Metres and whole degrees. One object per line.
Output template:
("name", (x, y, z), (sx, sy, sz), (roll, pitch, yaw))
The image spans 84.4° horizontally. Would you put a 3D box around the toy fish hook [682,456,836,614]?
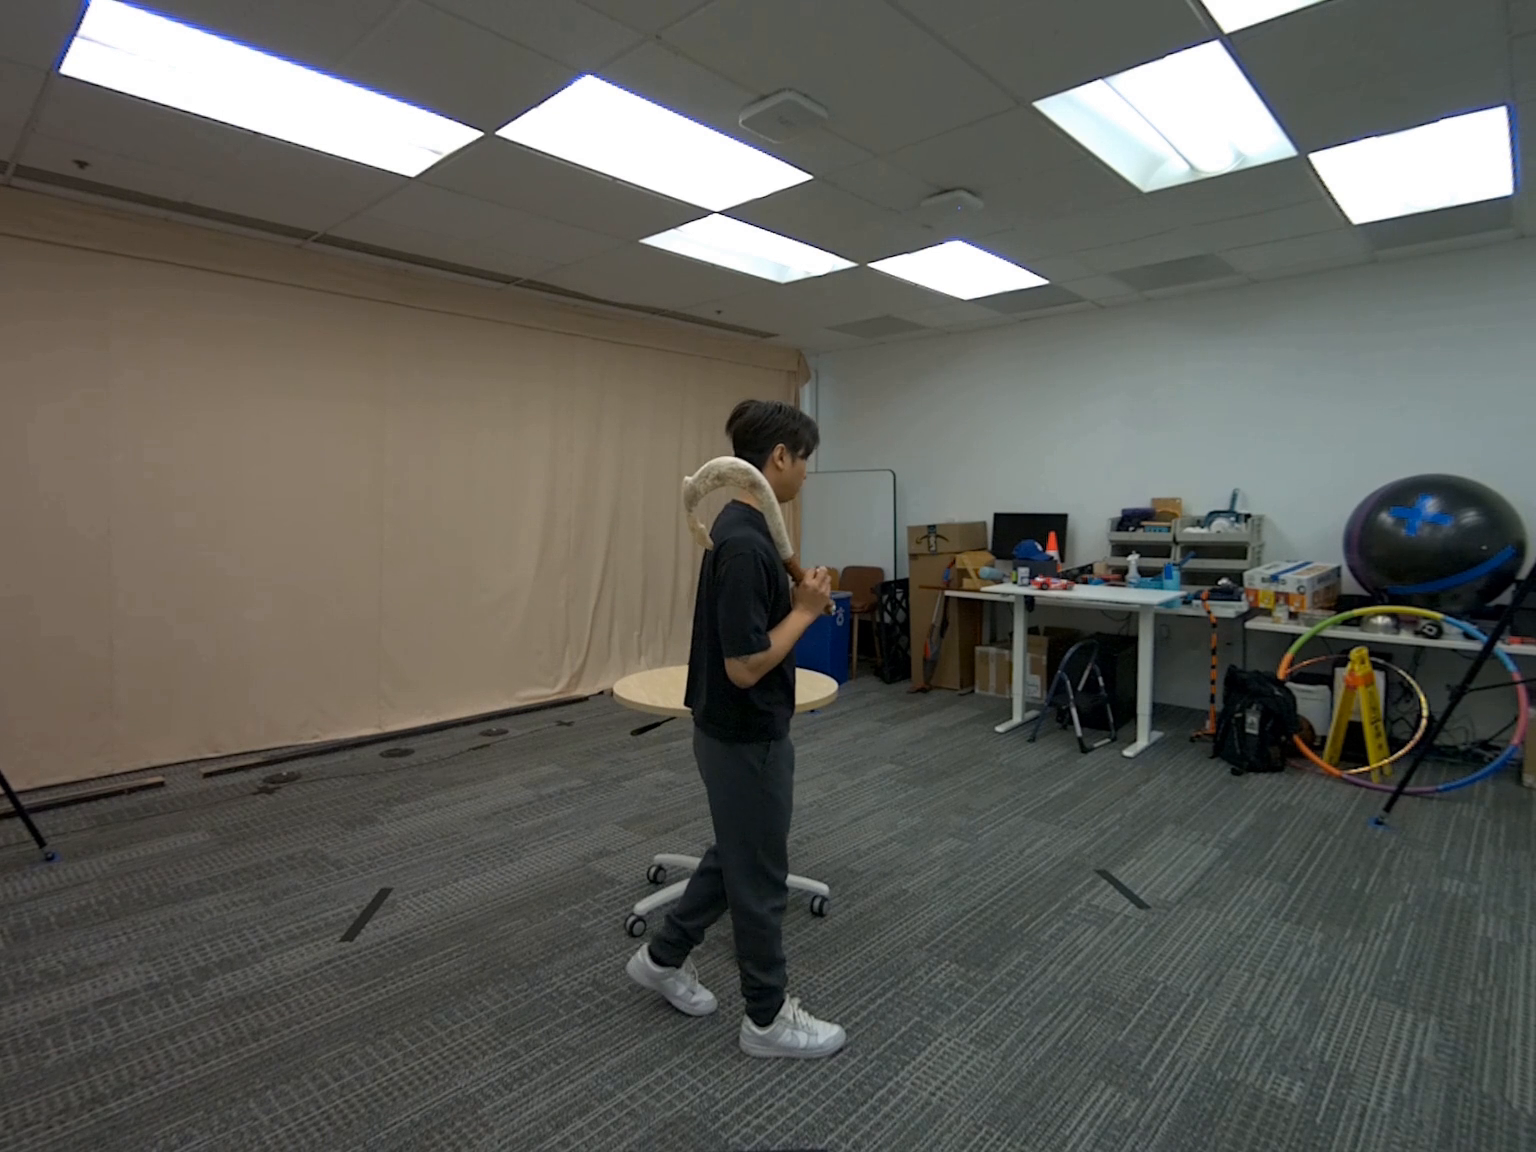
("toy fish hook", (-0.026, -0.064, 2.059), (0.227, 0.496, 0.049), (-30, 19, 18))
